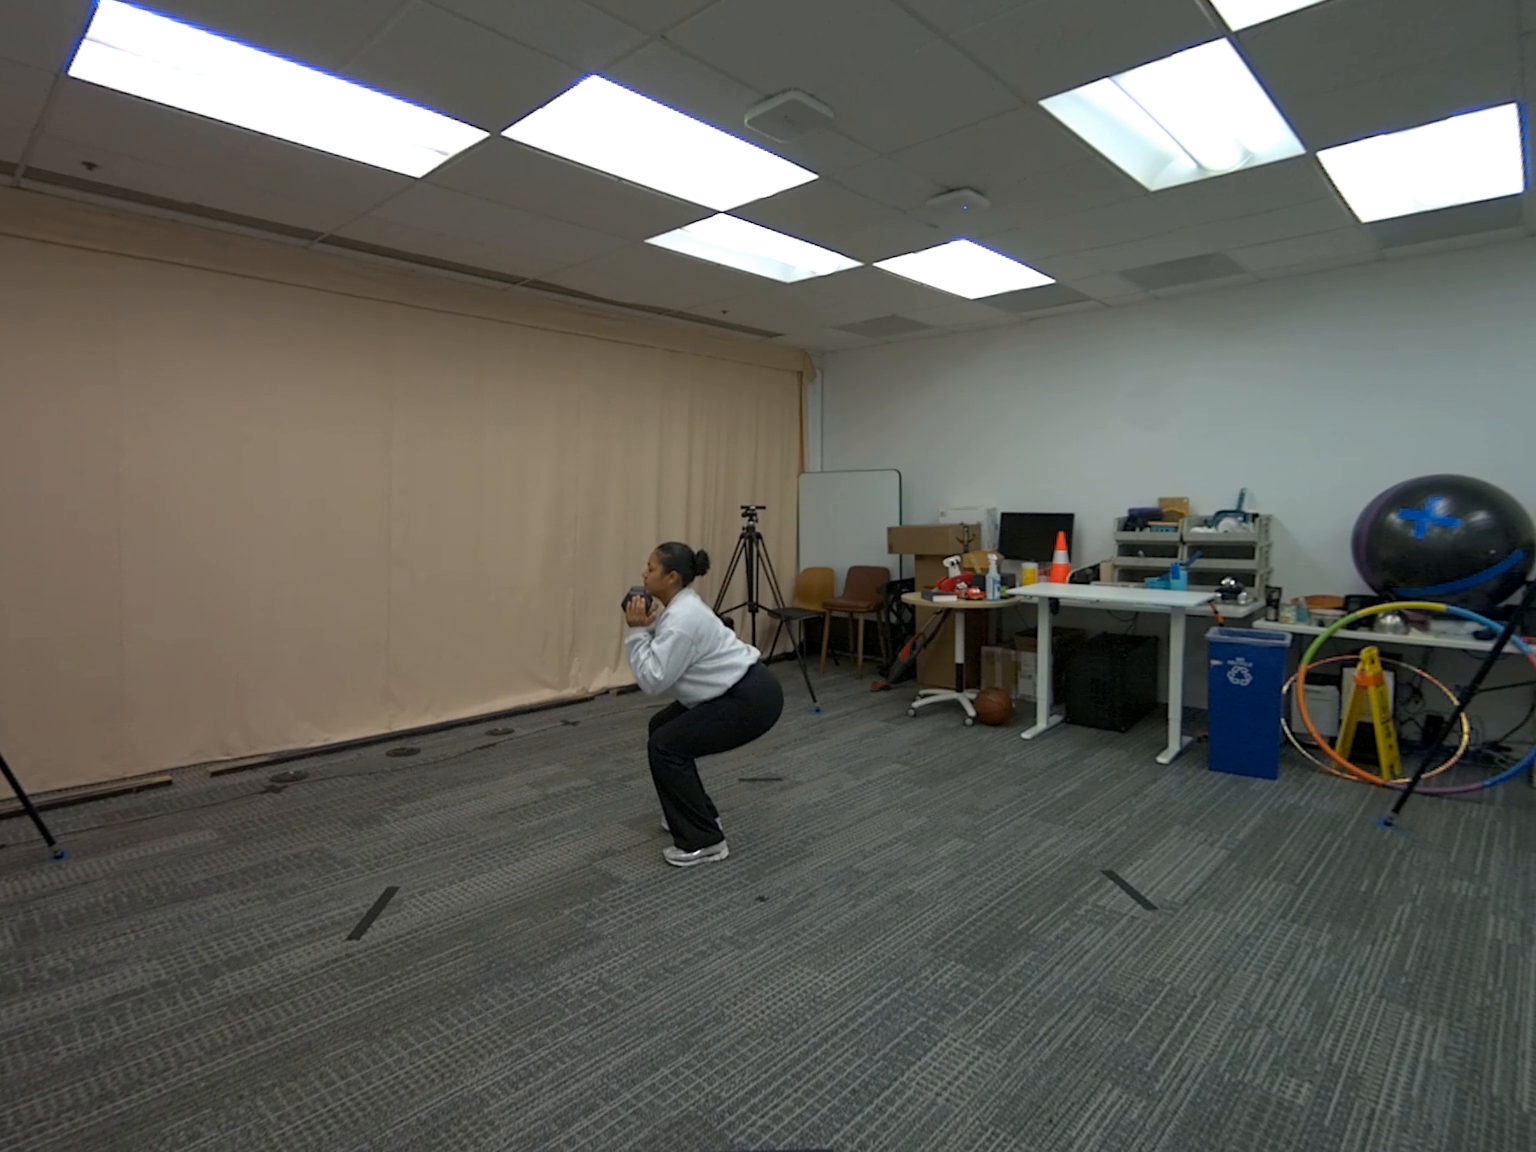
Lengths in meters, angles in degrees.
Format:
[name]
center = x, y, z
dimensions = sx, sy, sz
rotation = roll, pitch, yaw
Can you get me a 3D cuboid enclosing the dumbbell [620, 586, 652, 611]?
[dumbbell]
center = -0.523, 0.091, 3.437
dimensions = 0.107, 0.123, 0.296
rotation = 35, 0, -10
